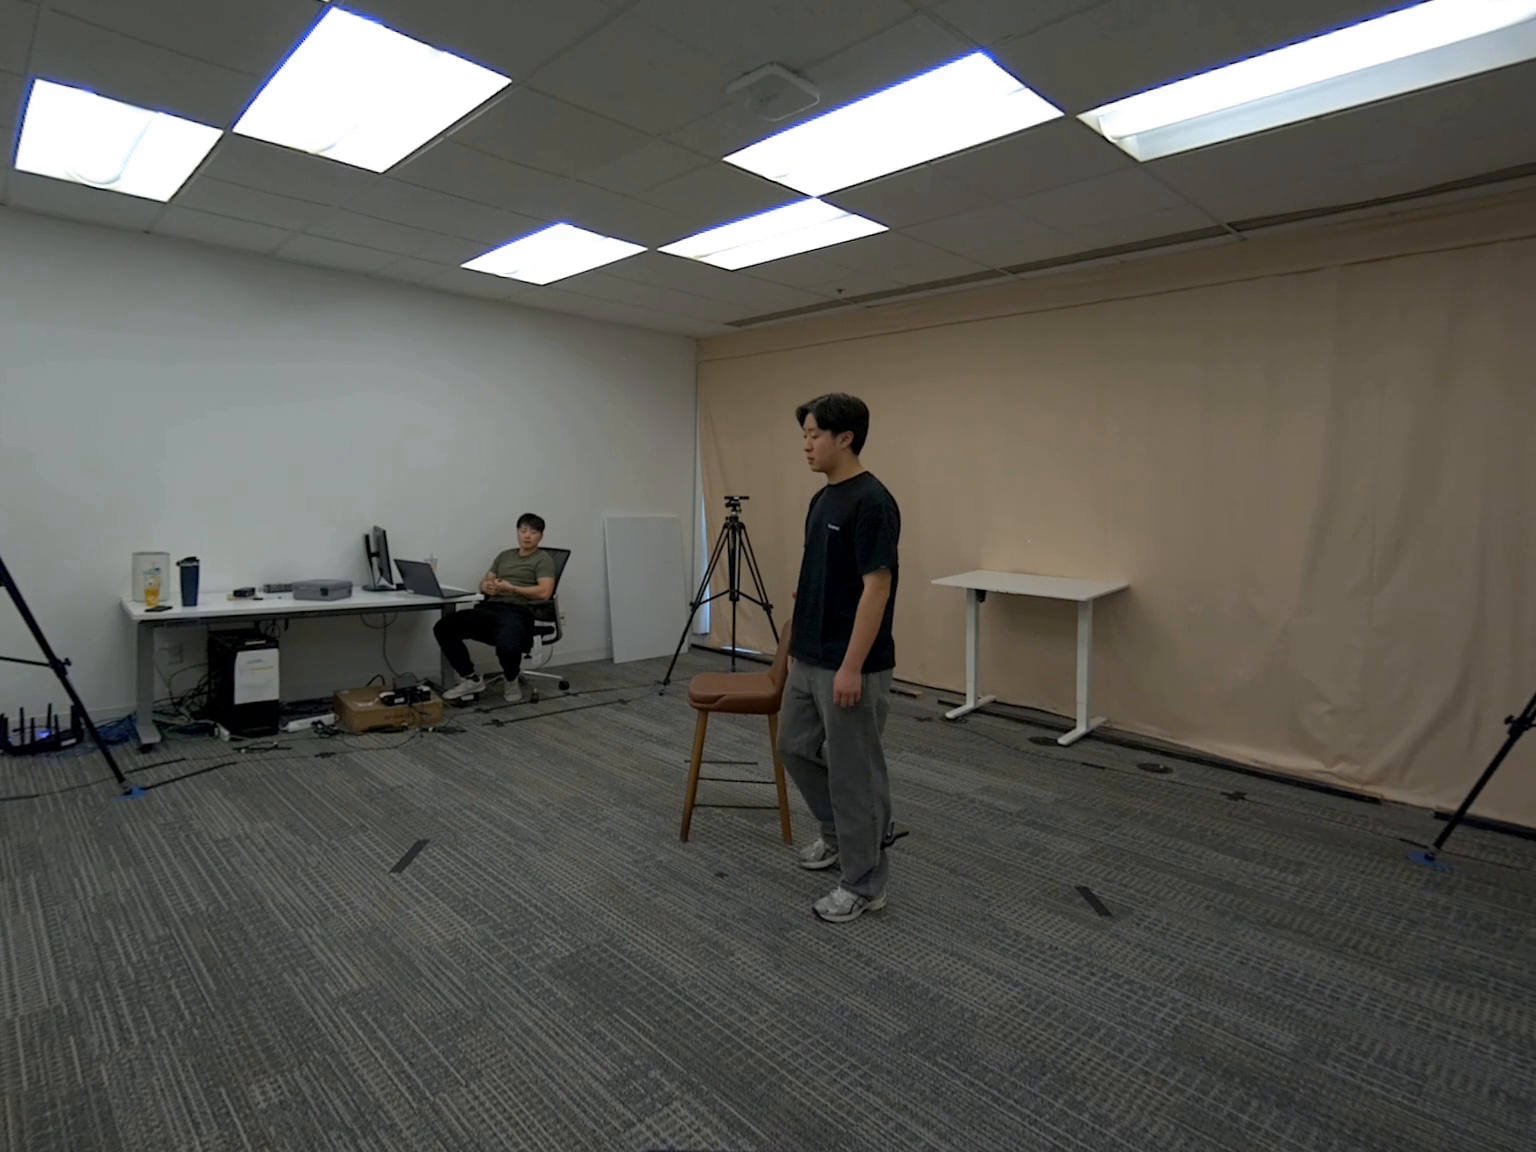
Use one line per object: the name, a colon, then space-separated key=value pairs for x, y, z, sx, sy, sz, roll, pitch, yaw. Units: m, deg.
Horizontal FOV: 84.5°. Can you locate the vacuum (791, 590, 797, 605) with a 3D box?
vacuum: x=0.273 y=0.580 z=3.522 sx=0.144 sy=1.051 sz=0.251 roll=-15 pitch=-2 yaw=4
